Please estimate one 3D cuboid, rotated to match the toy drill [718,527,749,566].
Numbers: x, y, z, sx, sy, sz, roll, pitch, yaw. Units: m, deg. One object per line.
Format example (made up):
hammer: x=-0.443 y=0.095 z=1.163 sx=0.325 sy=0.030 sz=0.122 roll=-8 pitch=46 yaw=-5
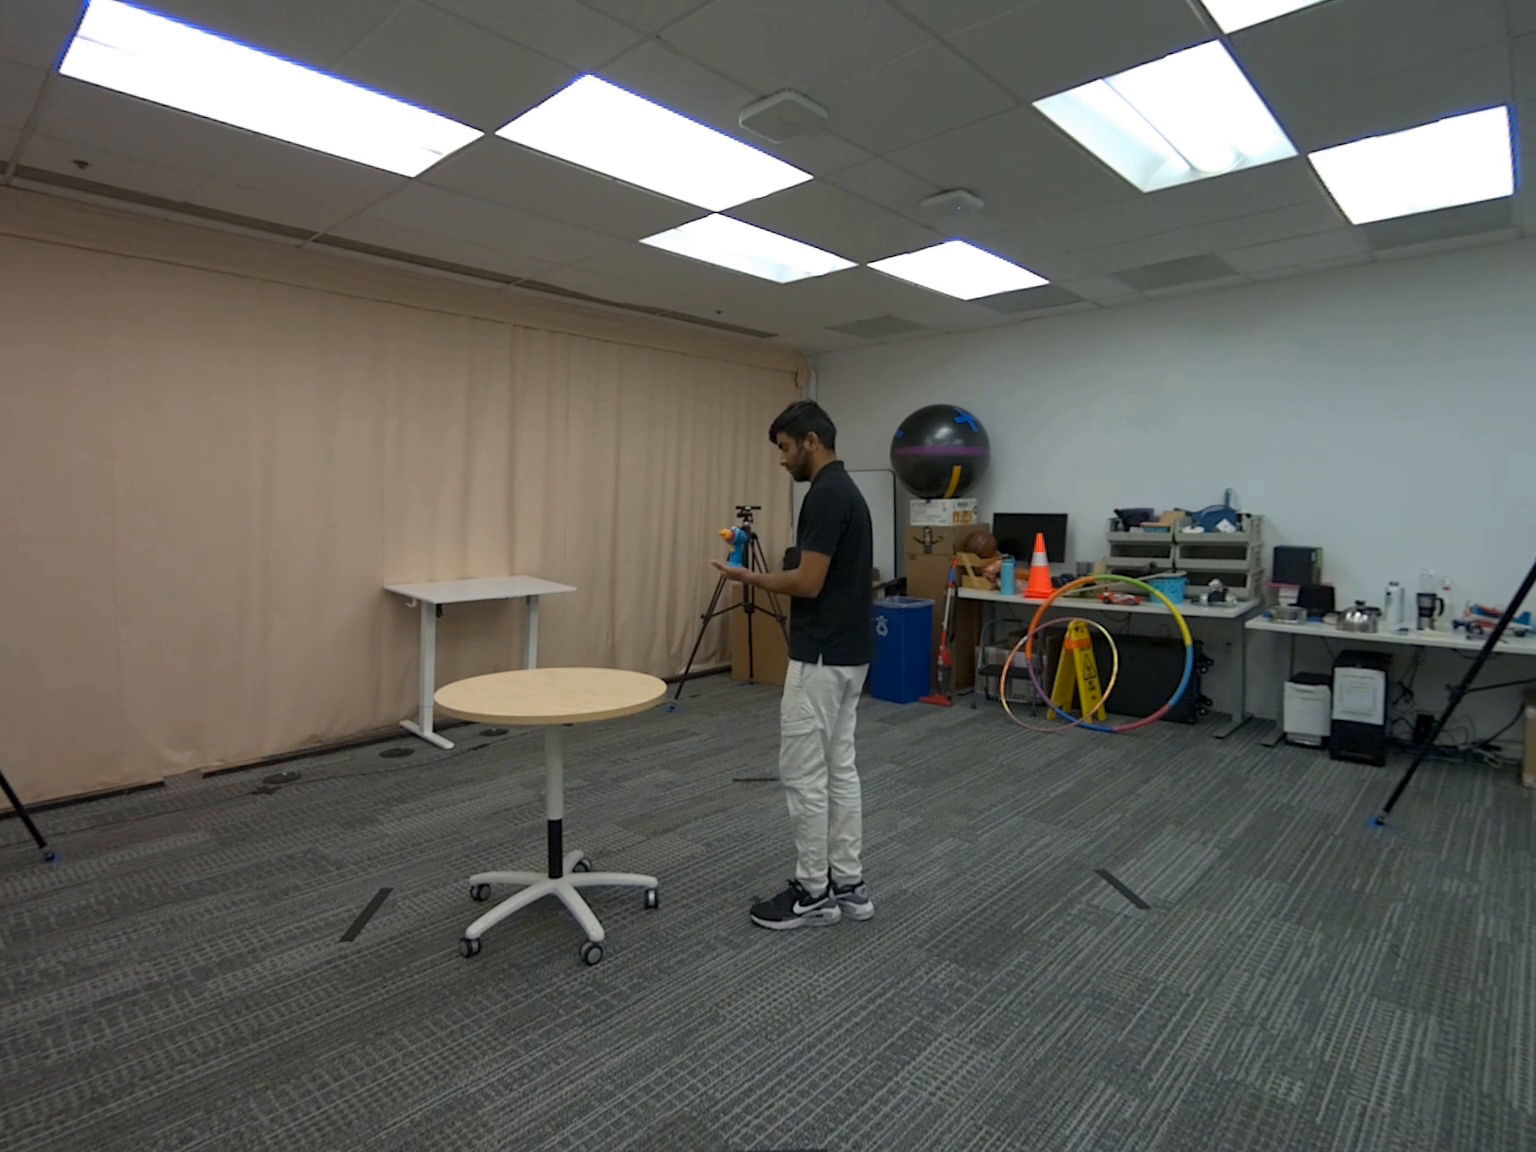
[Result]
toy drill: x=-0.123 y=-0.094 z=2.861 sx=0.063 sy=0.146 sz=0.165 roll=0 pitch=-6 yaw=27
